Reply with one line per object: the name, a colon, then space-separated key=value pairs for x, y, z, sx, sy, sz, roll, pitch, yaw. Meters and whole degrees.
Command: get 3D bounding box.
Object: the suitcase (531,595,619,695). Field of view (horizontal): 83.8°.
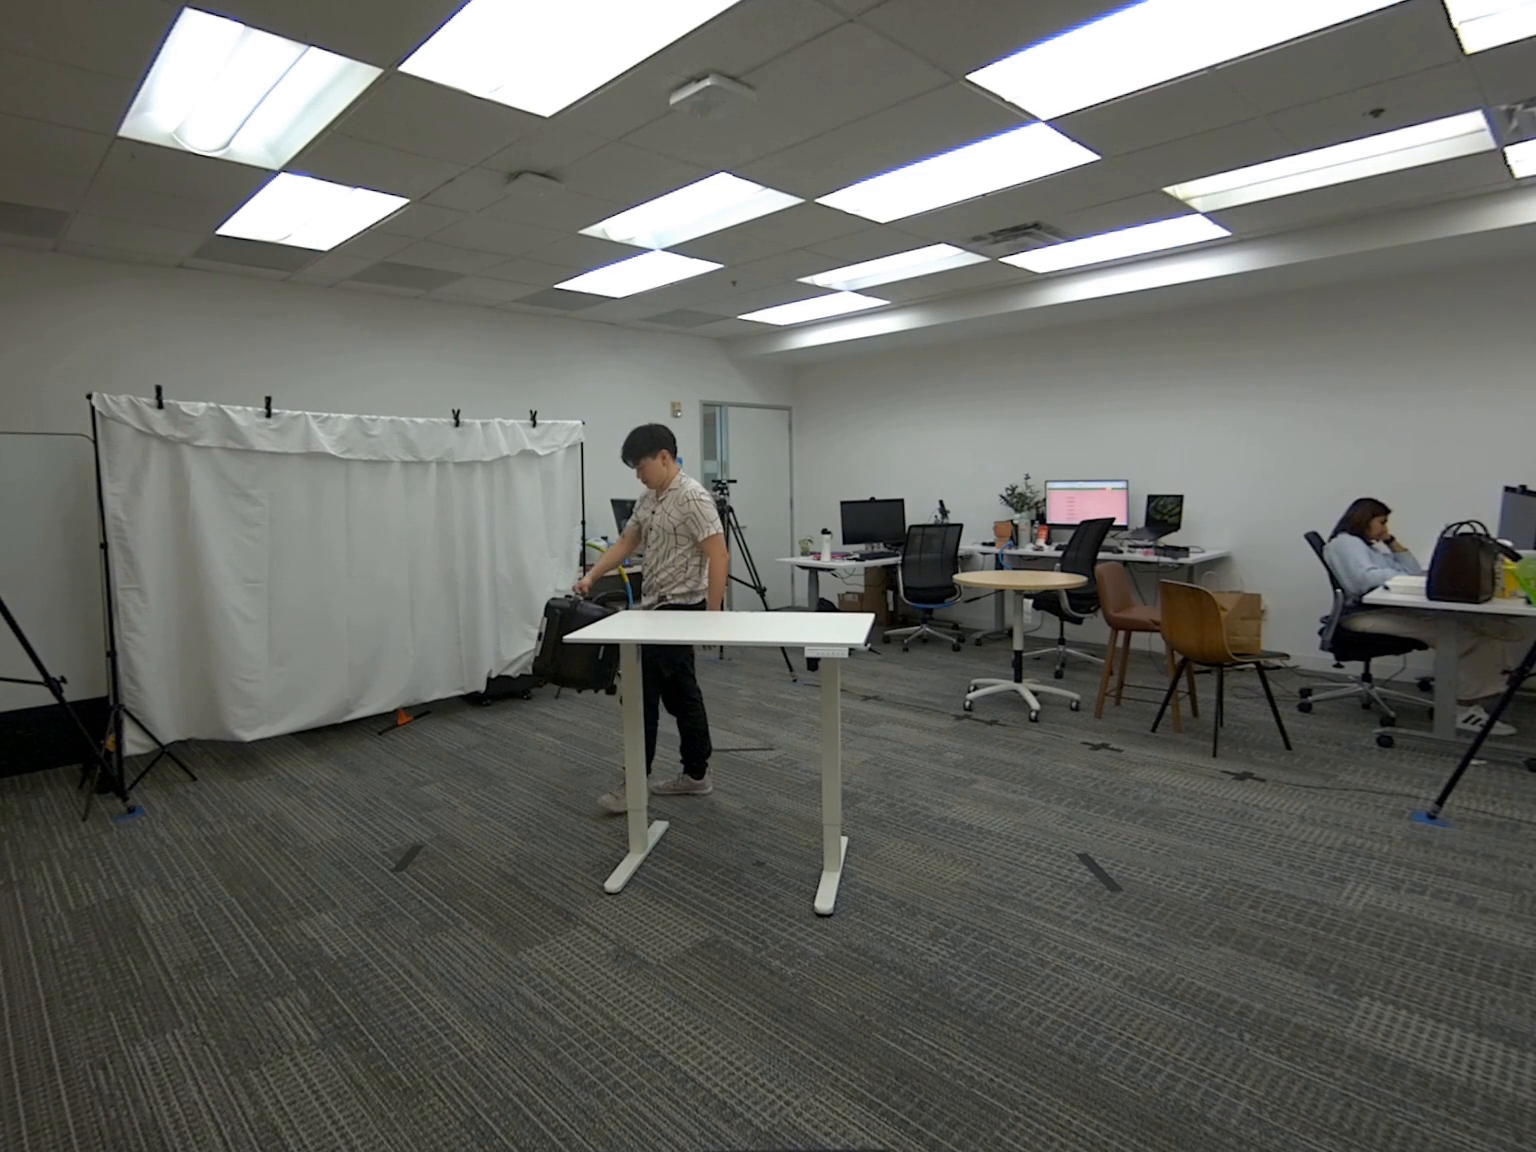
suitcase: x=-0.789 y=0.290 z=3.664 sx=0.251 sy=0.377 sz=0.540 roll=11 pitch=-7 yaw=9
